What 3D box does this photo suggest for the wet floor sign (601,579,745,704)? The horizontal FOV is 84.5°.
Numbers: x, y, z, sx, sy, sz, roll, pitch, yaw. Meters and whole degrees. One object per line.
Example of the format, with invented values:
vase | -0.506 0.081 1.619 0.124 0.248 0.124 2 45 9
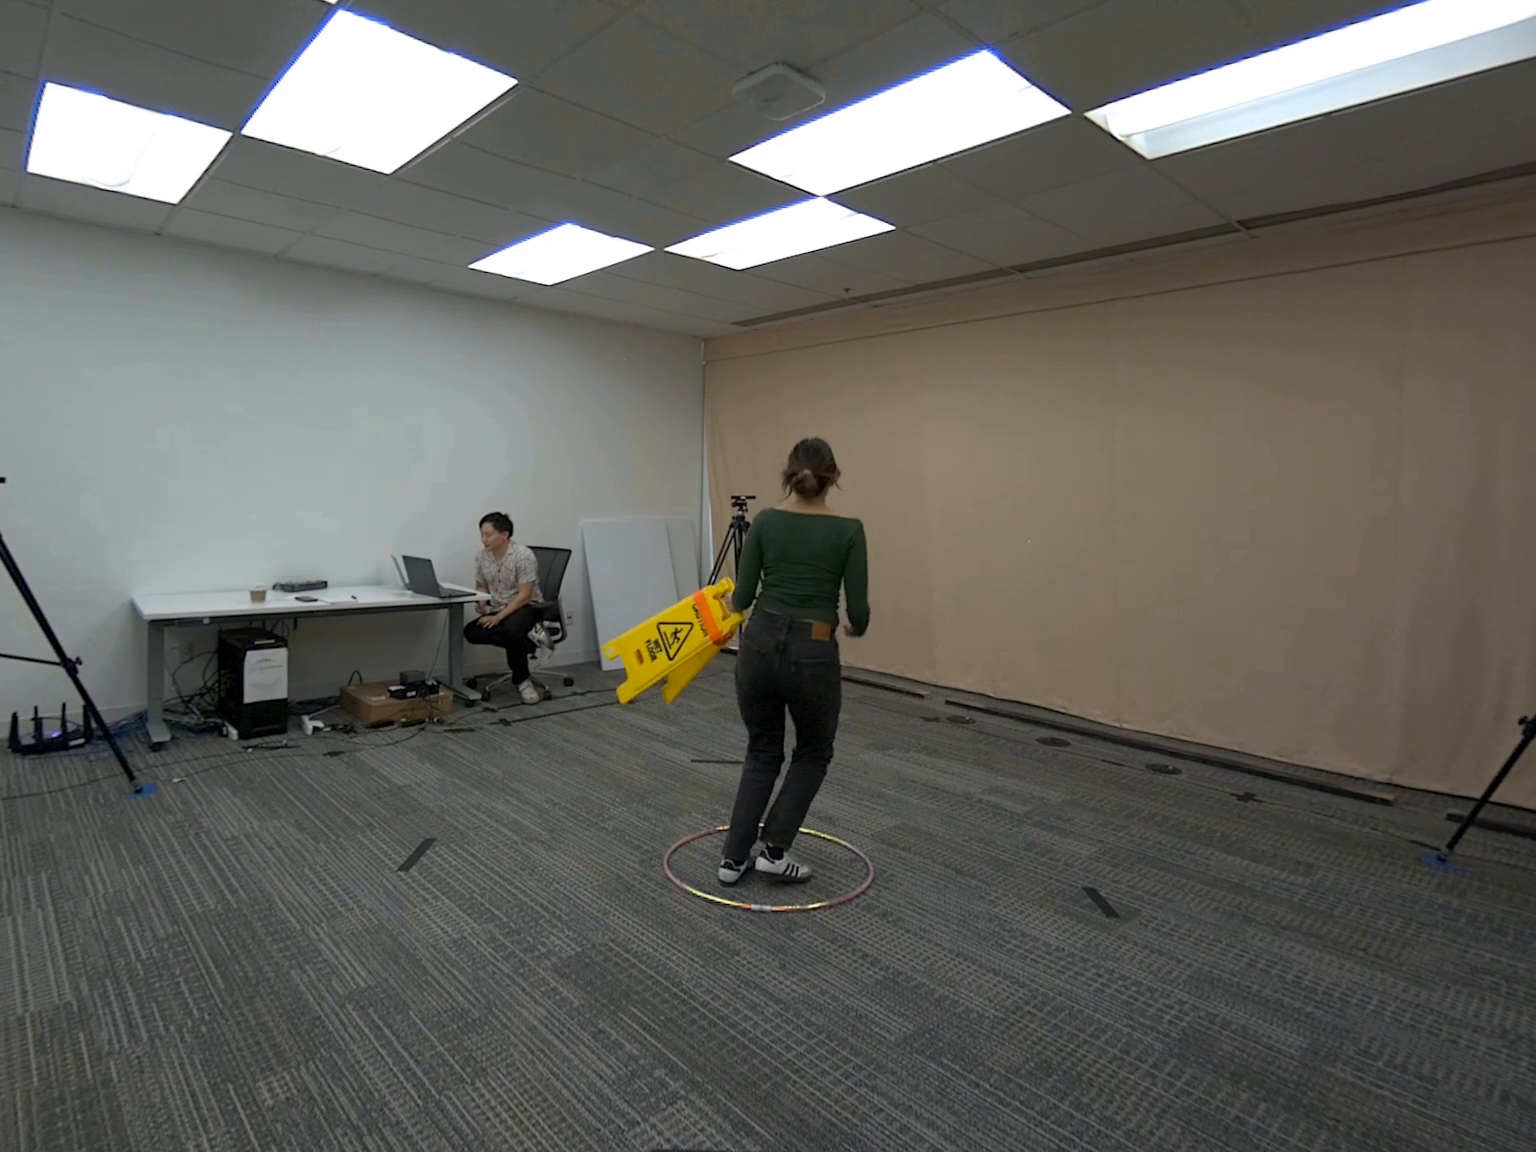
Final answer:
wet floor sign | -0.302 0.260 3.479 0.648 0.289 0.282 -37 -28 27
